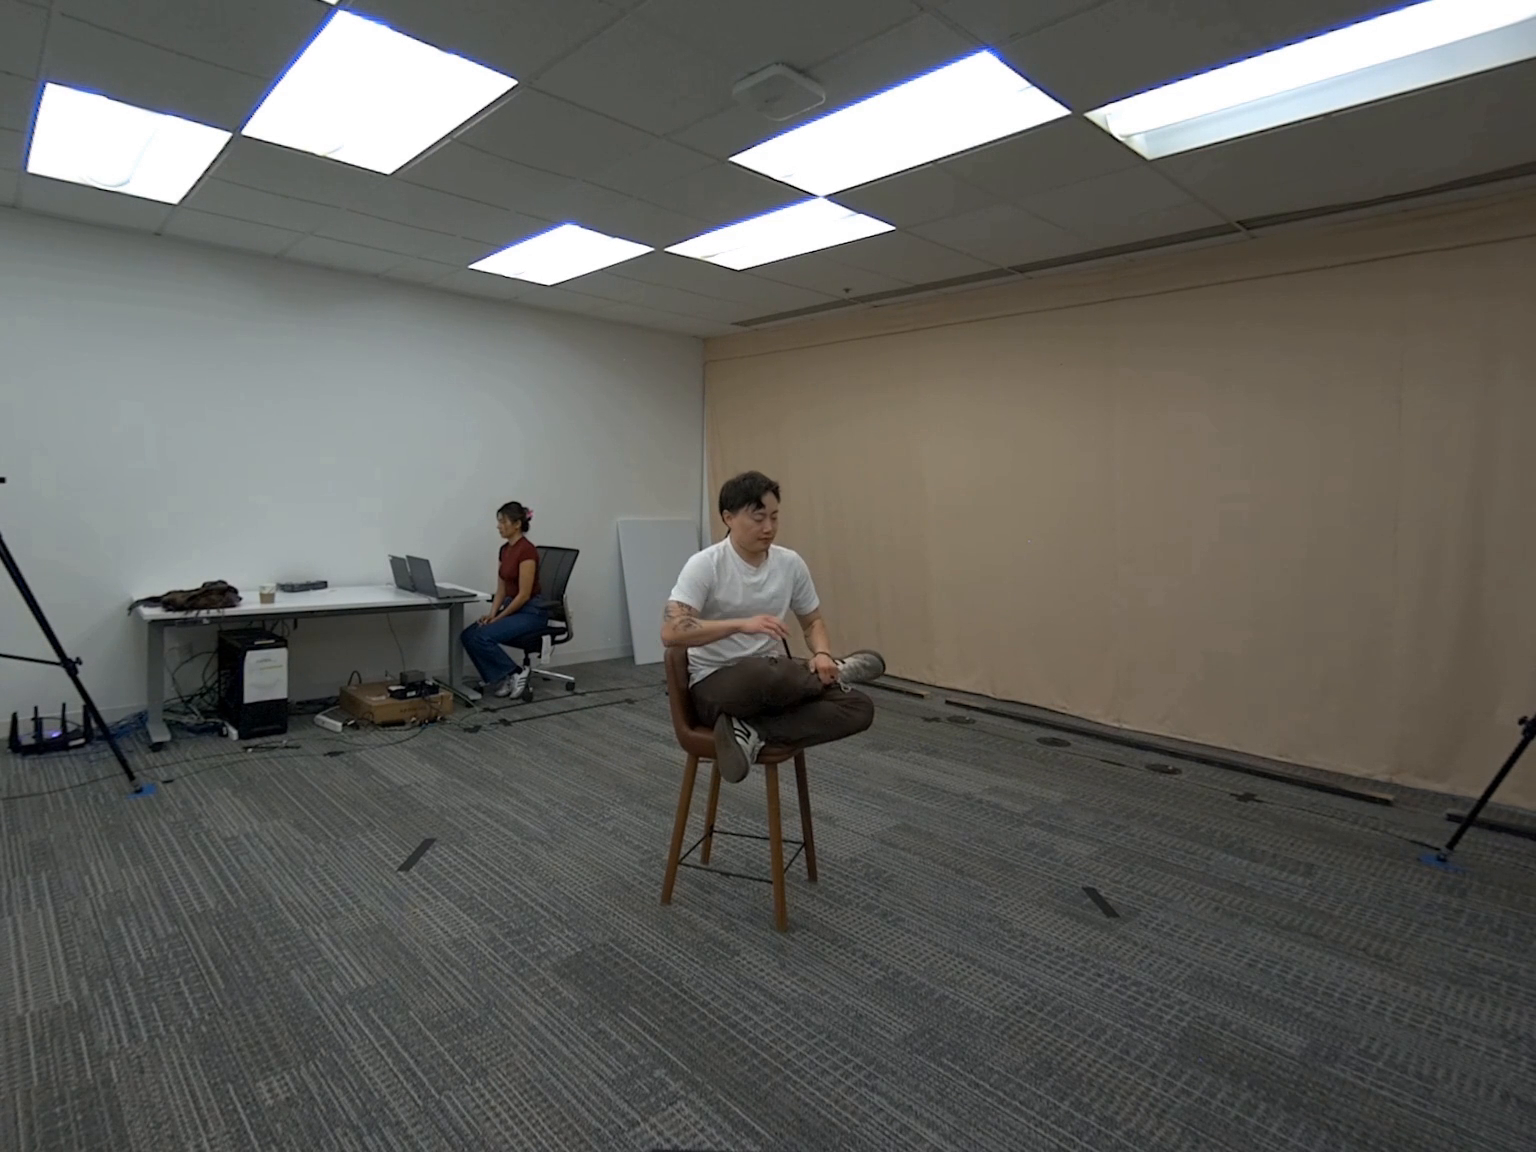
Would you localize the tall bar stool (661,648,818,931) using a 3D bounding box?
[{"bbox_3d":[-0.104,0.688,2.946,0.475,0.888,0.450,0,3,21],"label":"tall bar stool"}]
